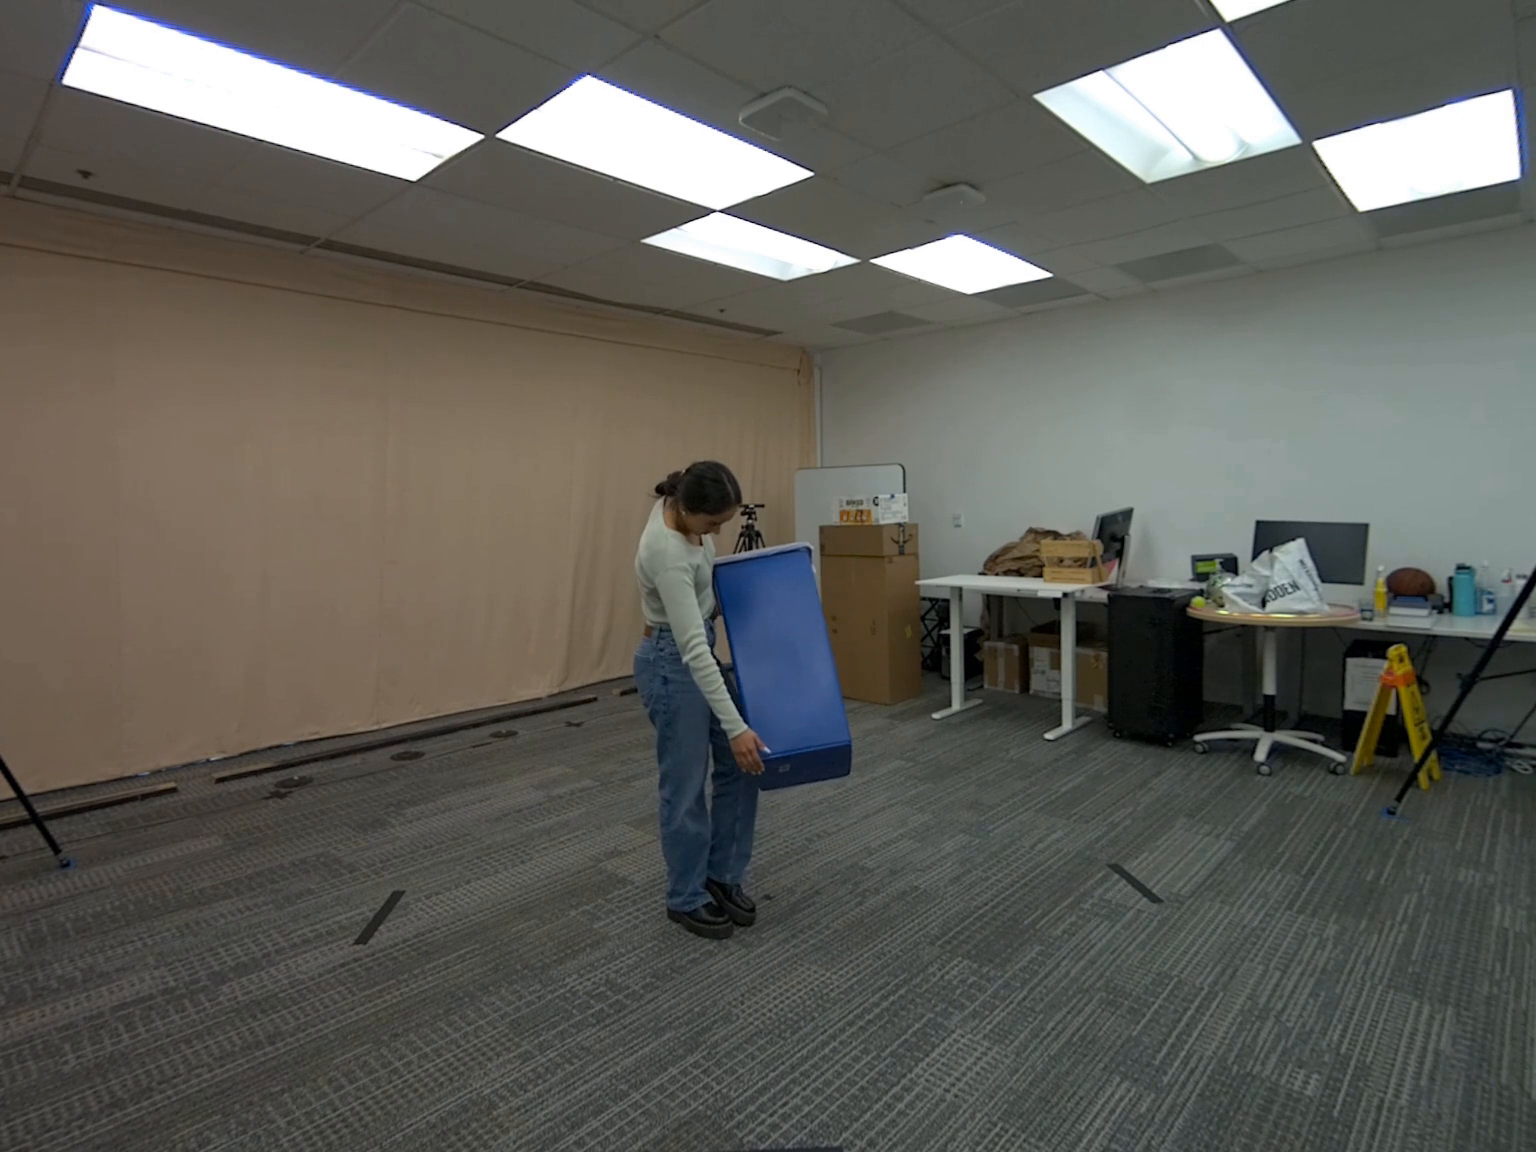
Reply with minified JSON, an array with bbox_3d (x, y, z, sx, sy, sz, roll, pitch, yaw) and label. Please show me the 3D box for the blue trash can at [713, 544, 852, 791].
[{"bbox_3d":[0.048,0.302,2.820,0.374,0.730,0.370,-10,-33,-2],"label":"blue trash can"}]
